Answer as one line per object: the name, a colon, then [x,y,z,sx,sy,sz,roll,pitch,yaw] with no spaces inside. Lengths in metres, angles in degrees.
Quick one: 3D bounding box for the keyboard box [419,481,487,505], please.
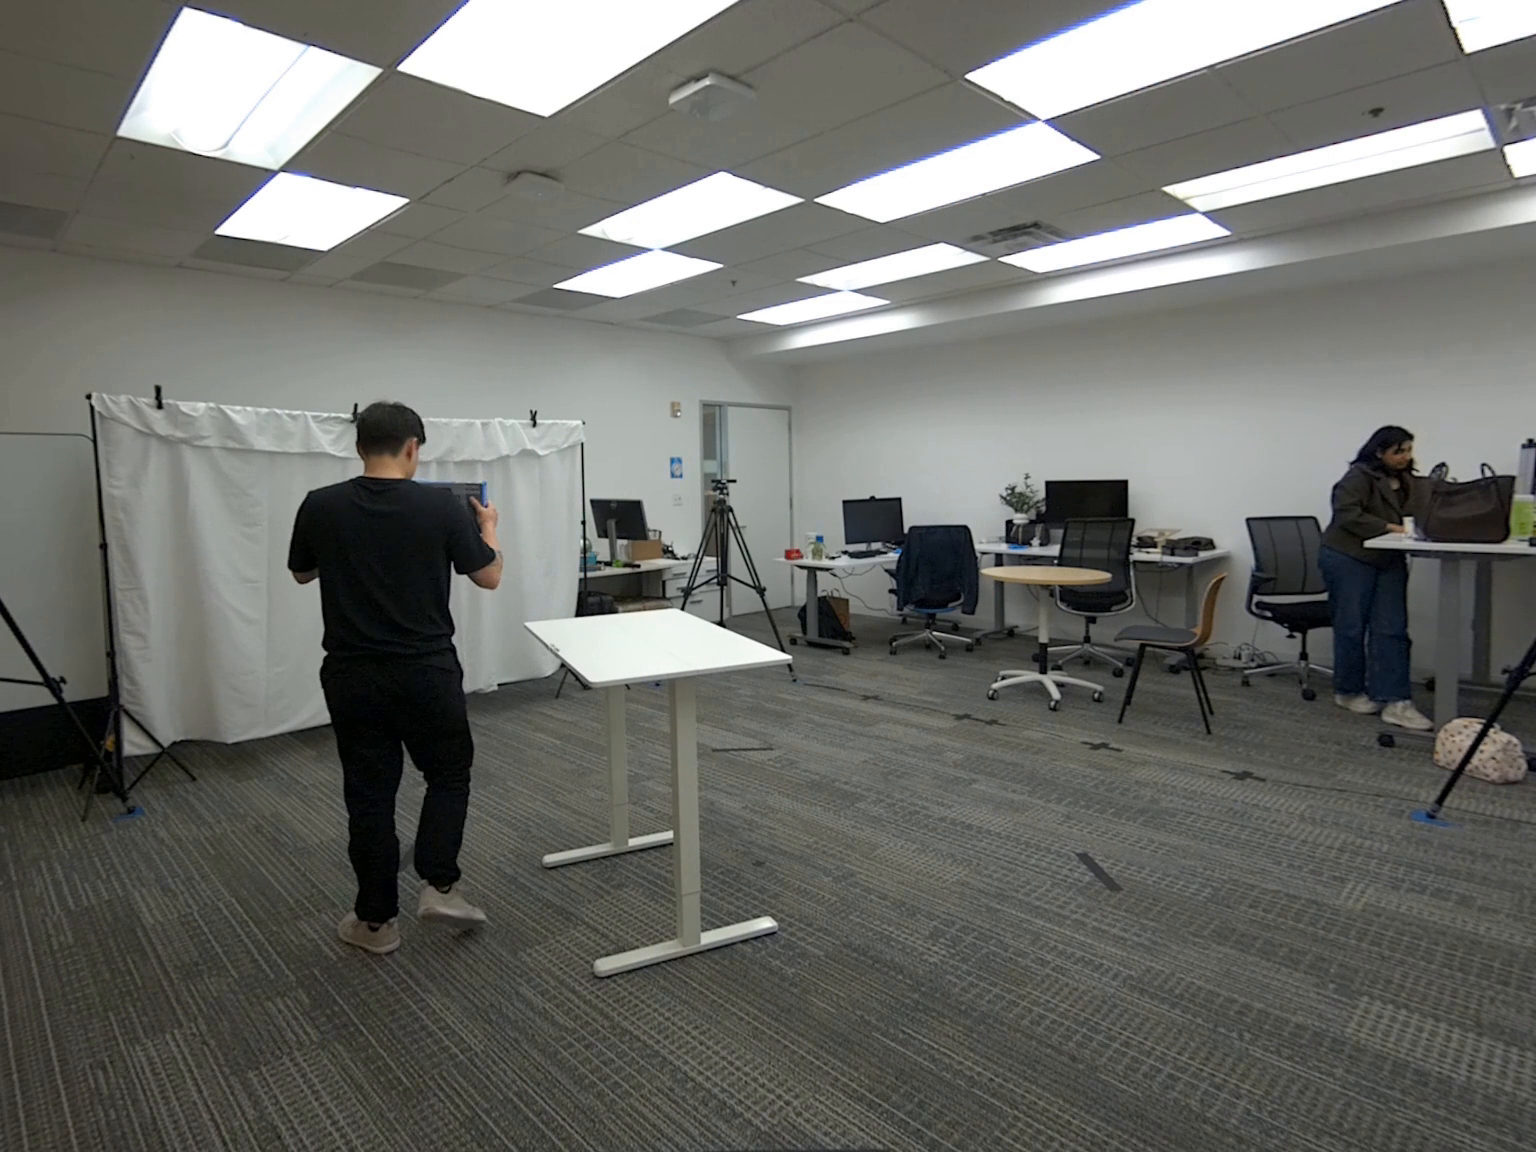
keyboard box: [-1.190,-0.230,2.887,0.437,0.175,0.059,2,6,1]
